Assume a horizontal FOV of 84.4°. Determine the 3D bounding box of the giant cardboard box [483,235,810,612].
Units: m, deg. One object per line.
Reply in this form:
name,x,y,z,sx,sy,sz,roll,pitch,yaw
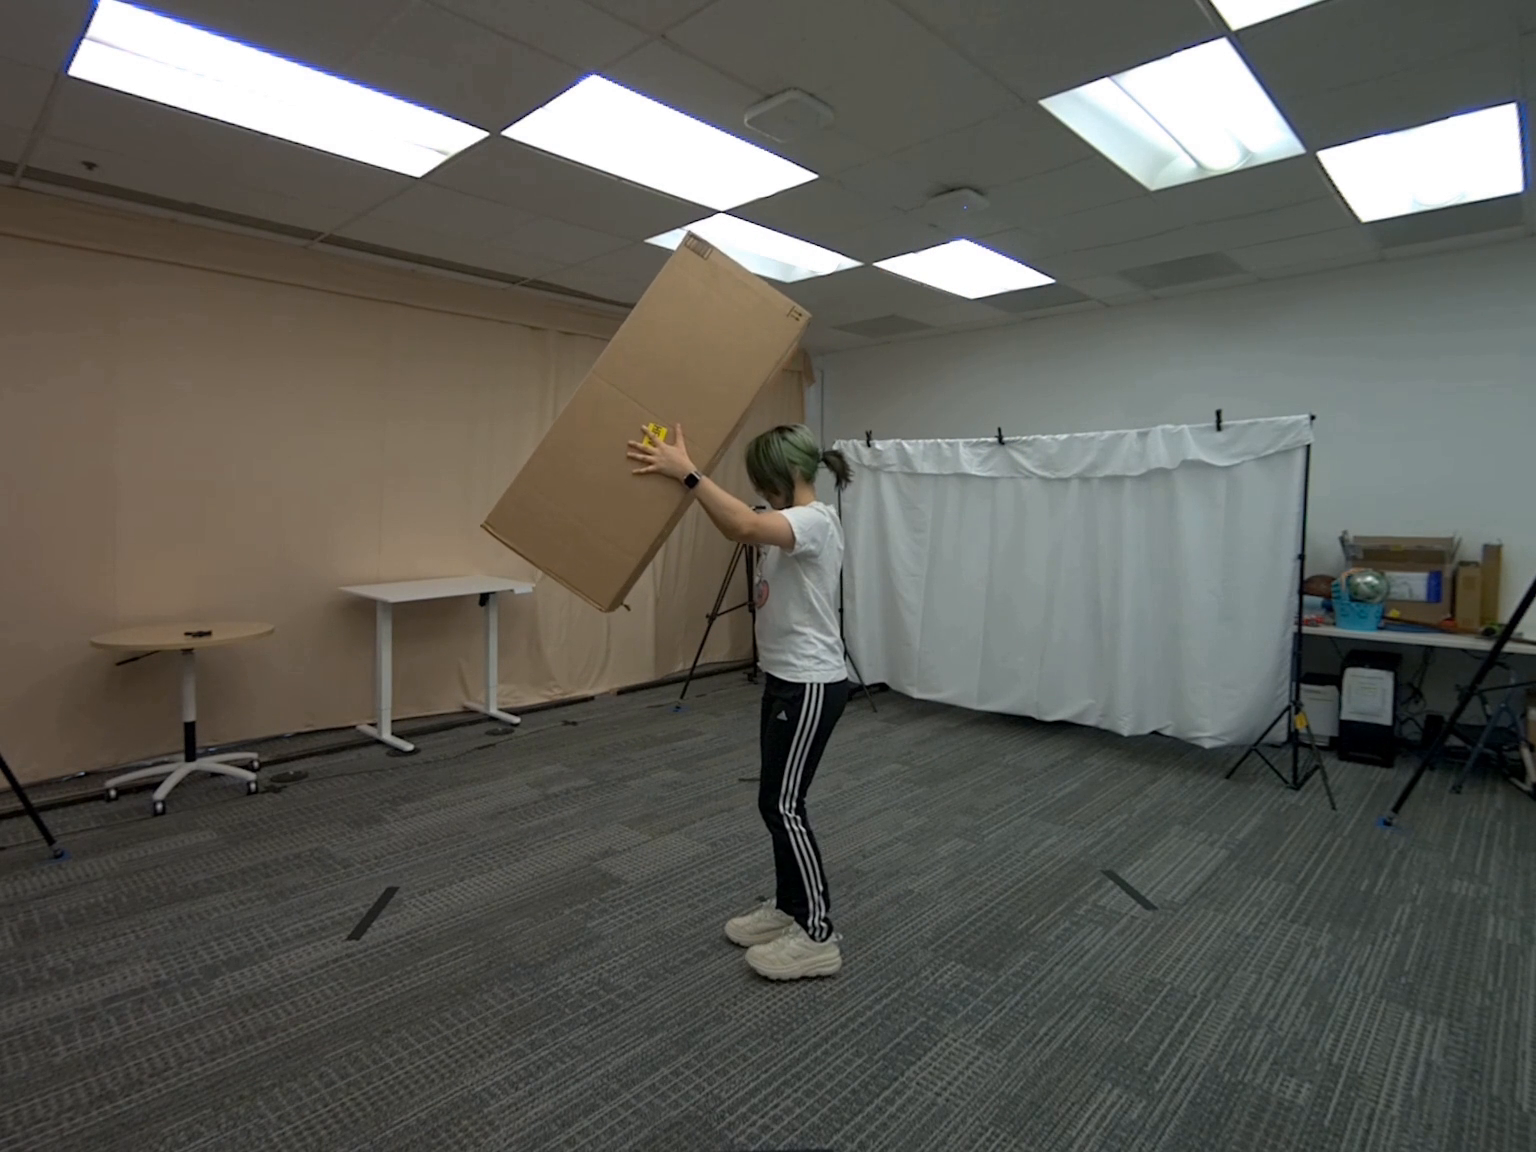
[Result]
giant cardboard box,-0.364,-0.432,2.625,0.445,1.027,0.587,34,-2,-5
